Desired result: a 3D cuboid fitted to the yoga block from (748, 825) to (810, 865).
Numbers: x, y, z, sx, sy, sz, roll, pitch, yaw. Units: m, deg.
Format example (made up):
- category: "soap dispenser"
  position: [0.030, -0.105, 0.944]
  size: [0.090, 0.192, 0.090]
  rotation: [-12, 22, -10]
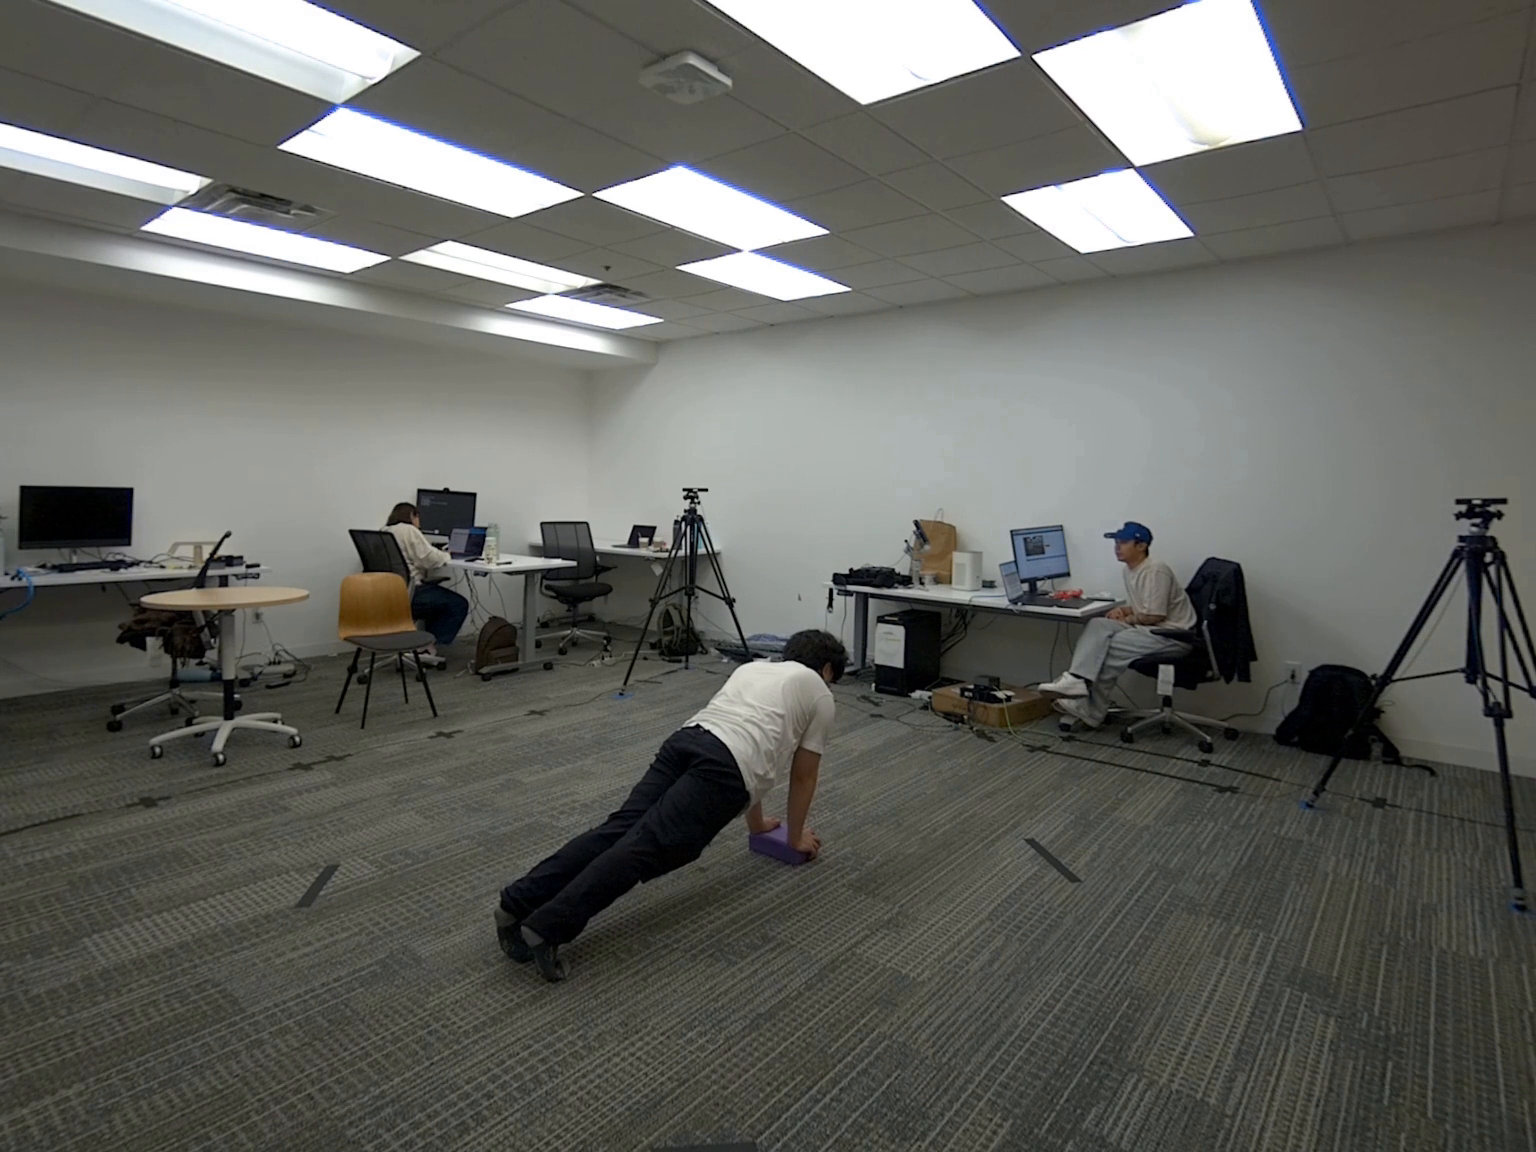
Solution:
- category: "yoga block"
  position: [0.046, 1.024, 3.278]
  size: [0.237, 0.076, 0.144]
  rotation: [5, 5, 38]
